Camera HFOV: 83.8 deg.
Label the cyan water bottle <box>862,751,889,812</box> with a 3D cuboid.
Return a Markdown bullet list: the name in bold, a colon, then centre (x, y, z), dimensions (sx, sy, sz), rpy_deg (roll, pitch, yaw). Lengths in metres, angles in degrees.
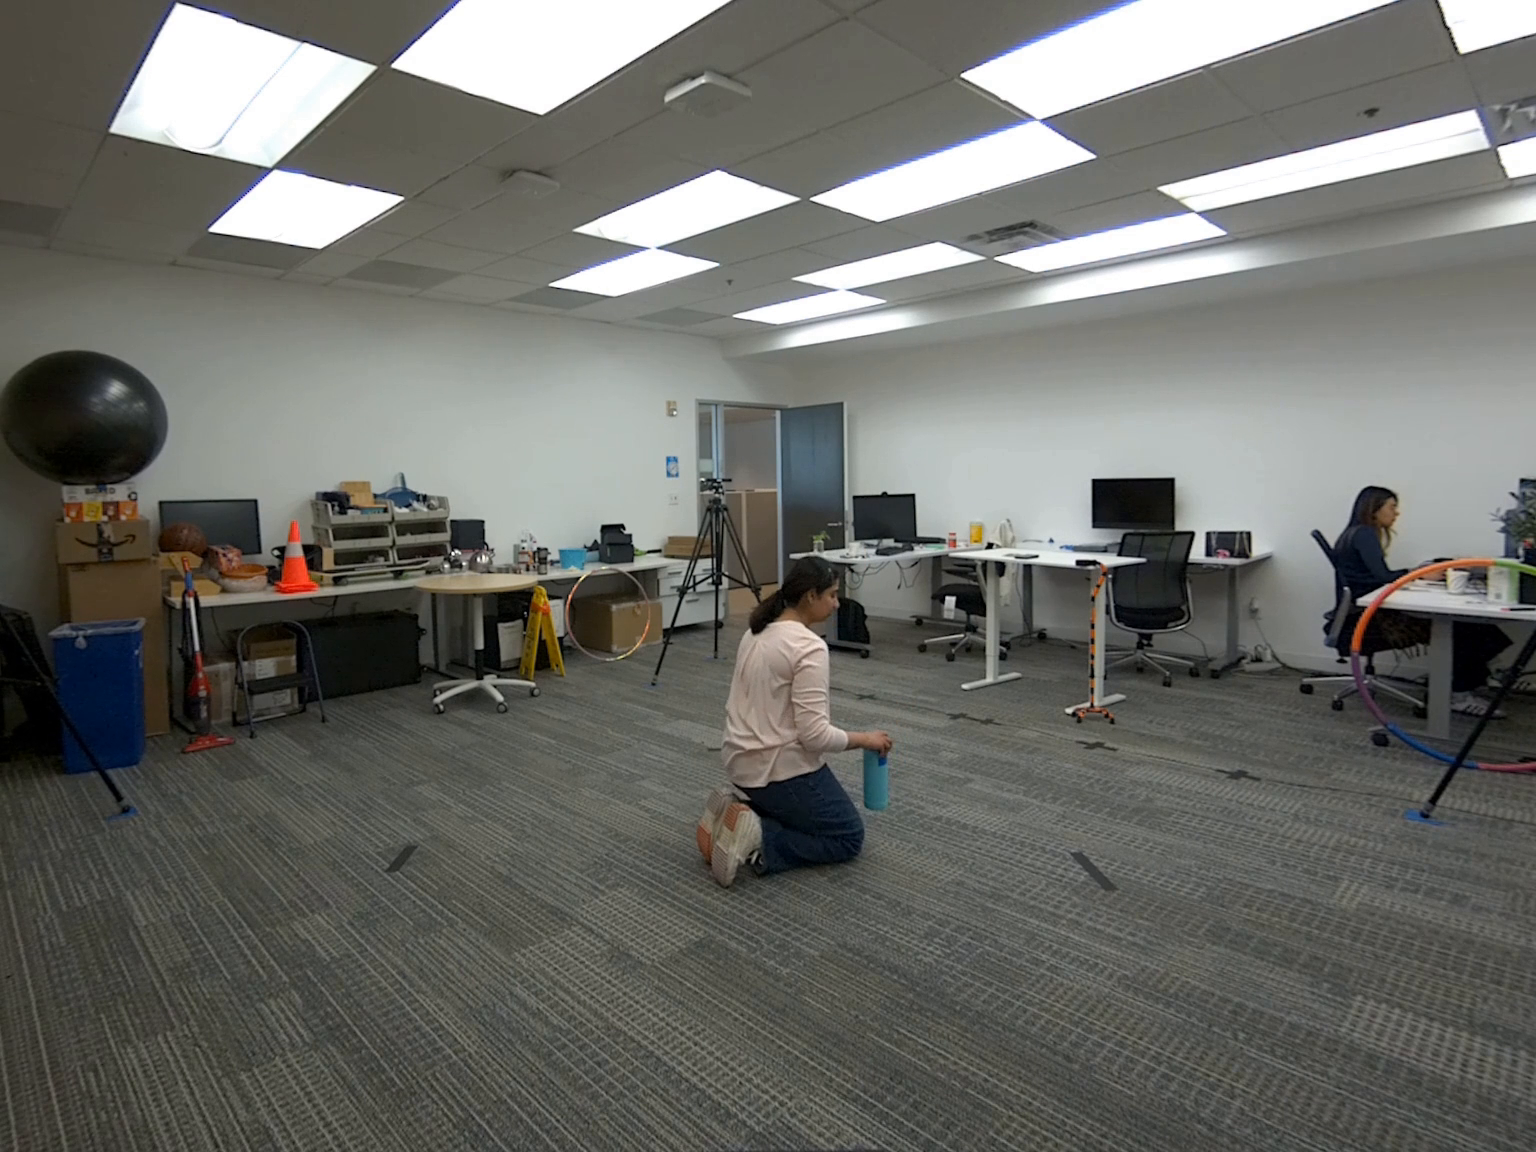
- **cyan water bottle**: centre (0.395, 0.710, 3.152), dimensions (0.092, 0.281, 0.093), rpy_deg (-1, 9, -2)
